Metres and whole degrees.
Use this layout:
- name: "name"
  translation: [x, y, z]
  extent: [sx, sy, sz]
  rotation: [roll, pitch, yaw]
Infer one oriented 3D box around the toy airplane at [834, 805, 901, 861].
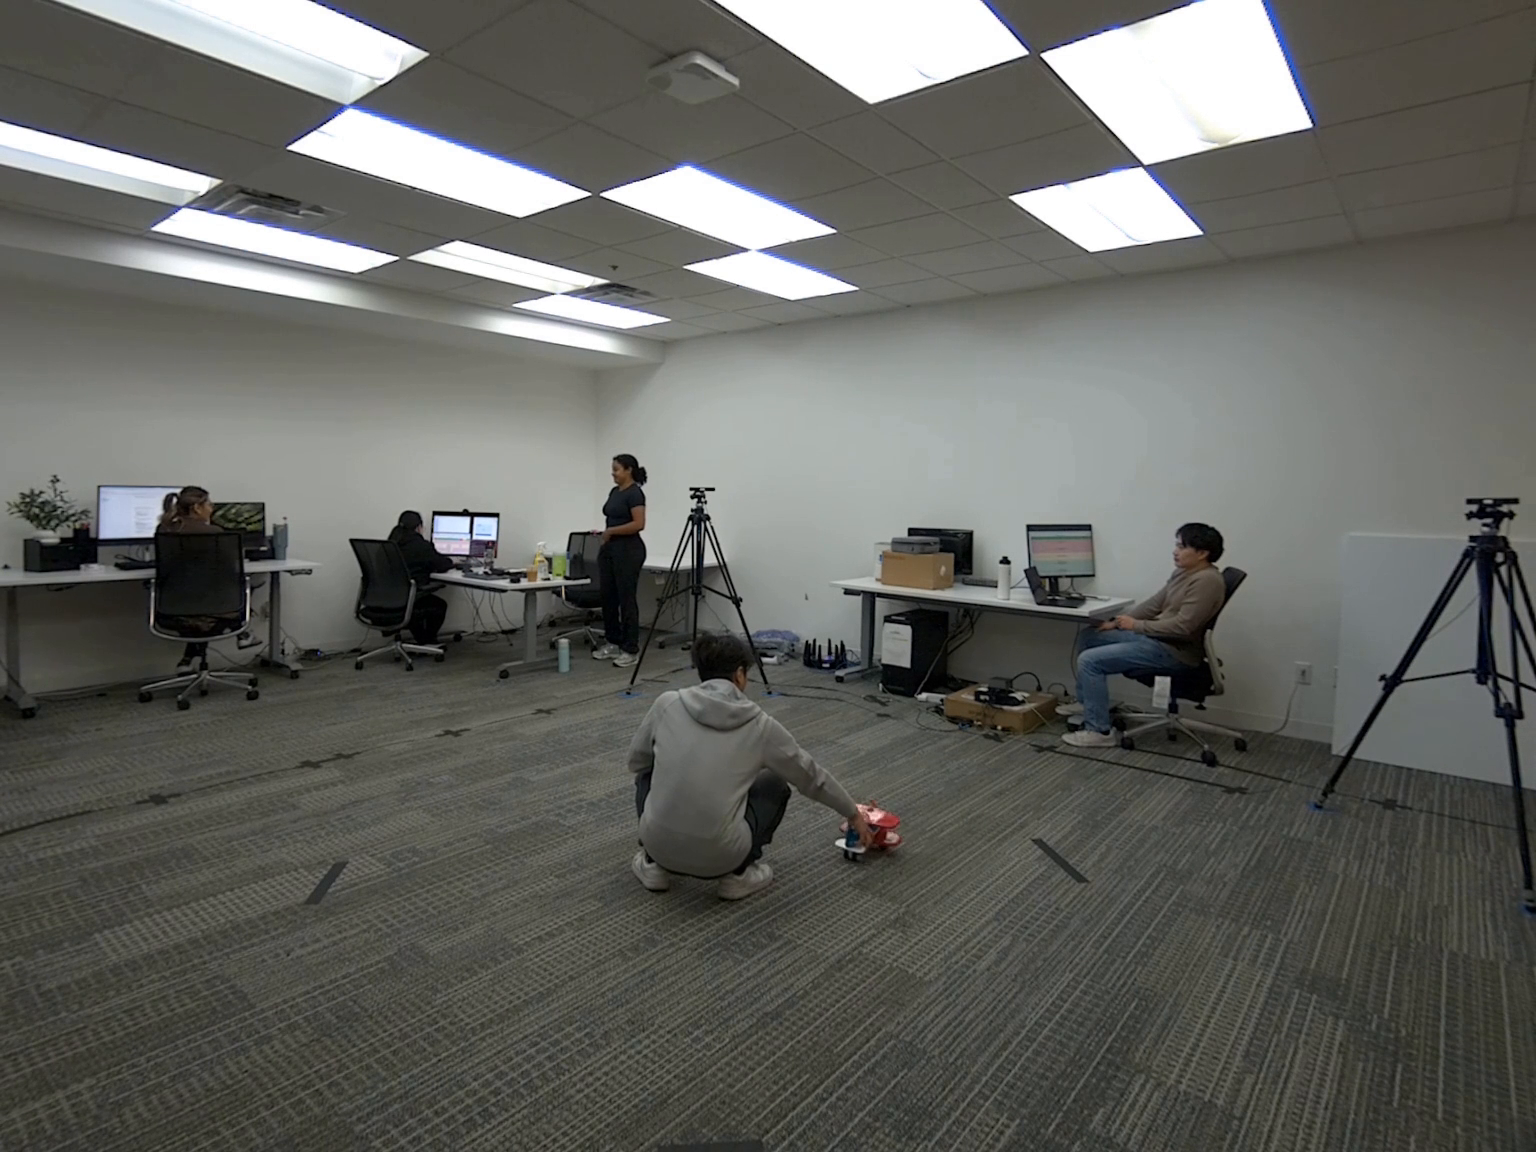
- name: "toy airplane"
  translation: [0.383, 0.995, 3.278]
  extent: [0.254, 0.156, 0.257]
  rotation: [1, 3, 9]
